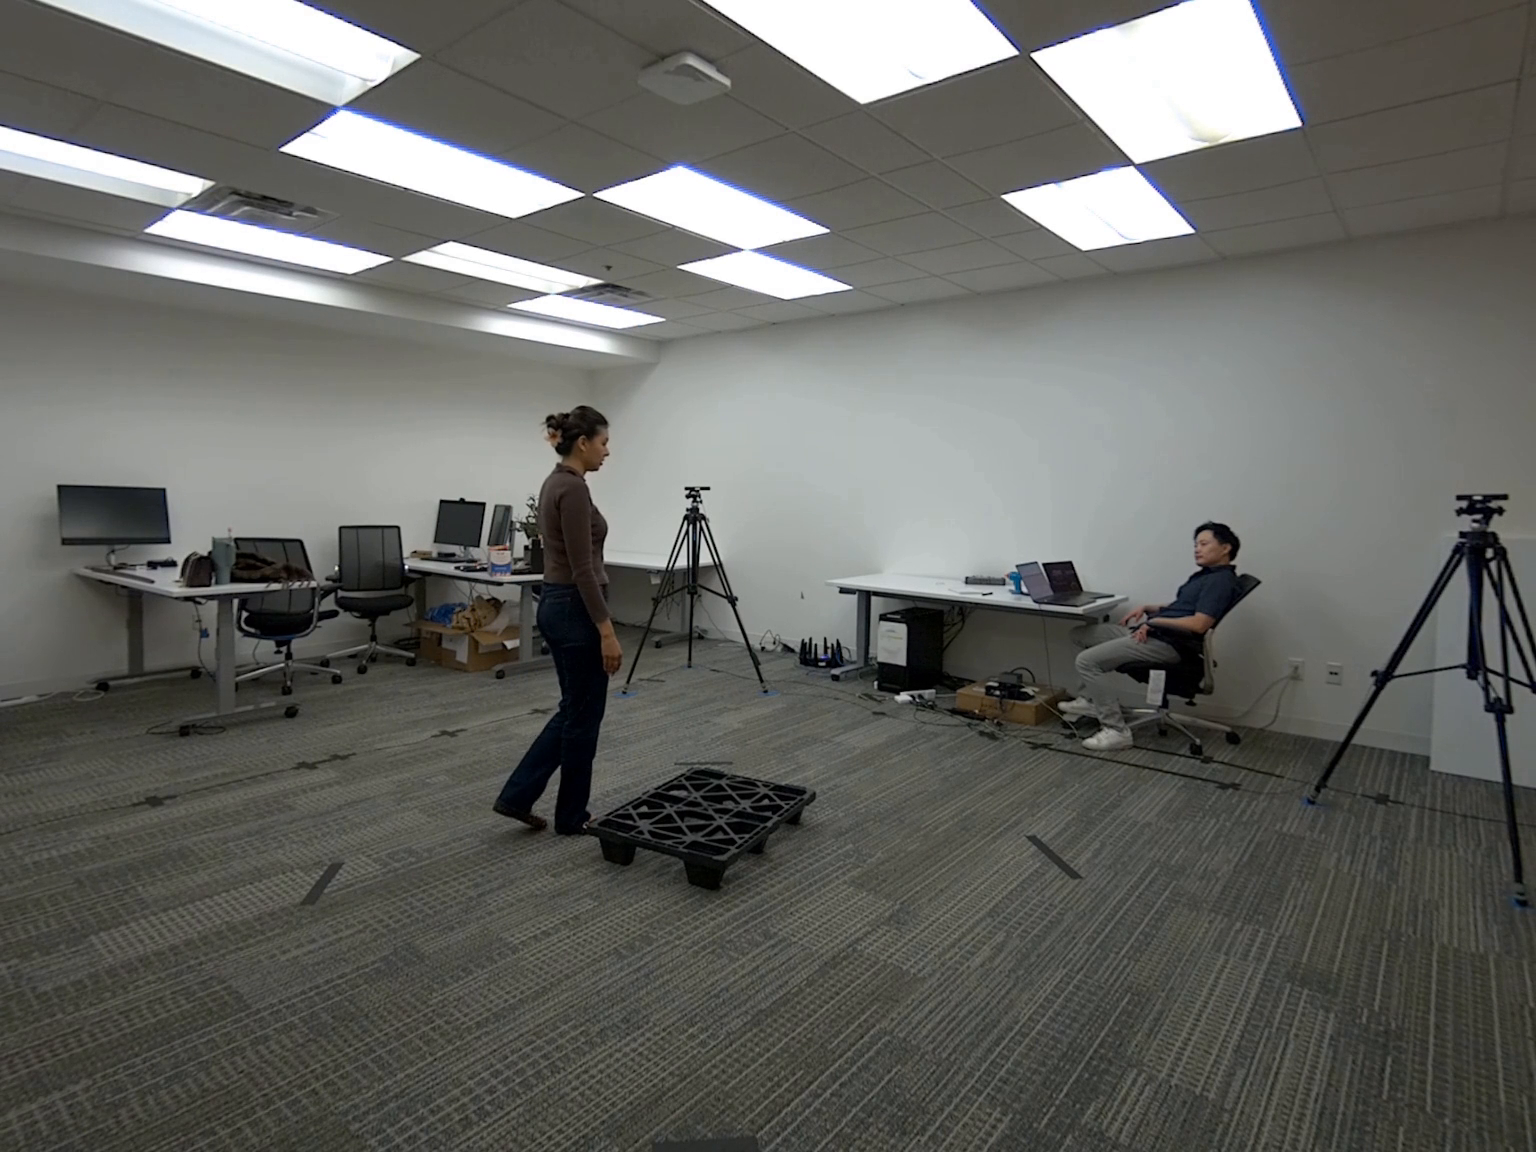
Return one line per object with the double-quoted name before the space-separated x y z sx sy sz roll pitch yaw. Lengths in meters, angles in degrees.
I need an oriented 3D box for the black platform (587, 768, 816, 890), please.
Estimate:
"black platform" -0.244 0.971 3.359 0.622 0.143 0.787 4 7 28
